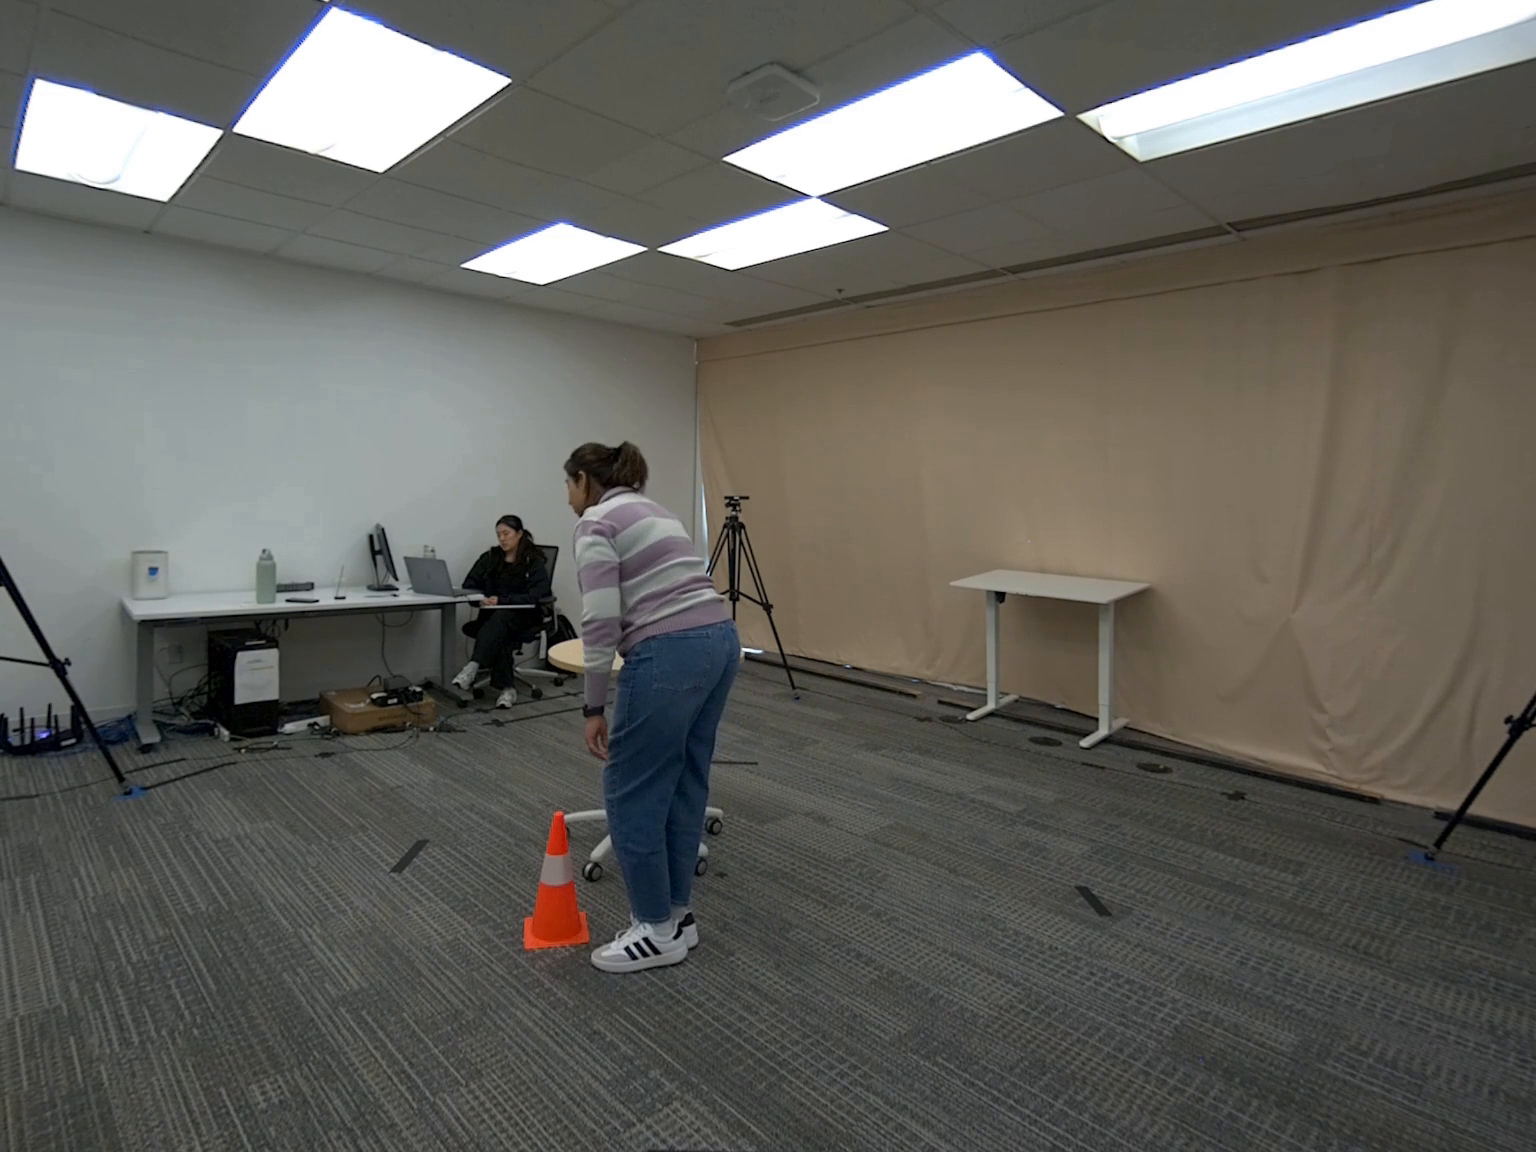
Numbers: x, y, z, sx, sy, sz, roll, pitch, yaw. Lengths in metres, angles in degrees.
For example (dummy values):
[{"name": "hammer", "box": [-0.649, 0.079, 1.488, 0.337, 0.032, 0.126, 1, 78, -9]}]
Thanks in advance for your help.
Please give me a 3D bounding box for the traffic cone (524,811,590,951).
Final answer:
[{"name": "traffic cone", "box": [-0.664, 0.946, 2.676, 0.202, 0.383, 0.206, 2, 2, -18]}]
